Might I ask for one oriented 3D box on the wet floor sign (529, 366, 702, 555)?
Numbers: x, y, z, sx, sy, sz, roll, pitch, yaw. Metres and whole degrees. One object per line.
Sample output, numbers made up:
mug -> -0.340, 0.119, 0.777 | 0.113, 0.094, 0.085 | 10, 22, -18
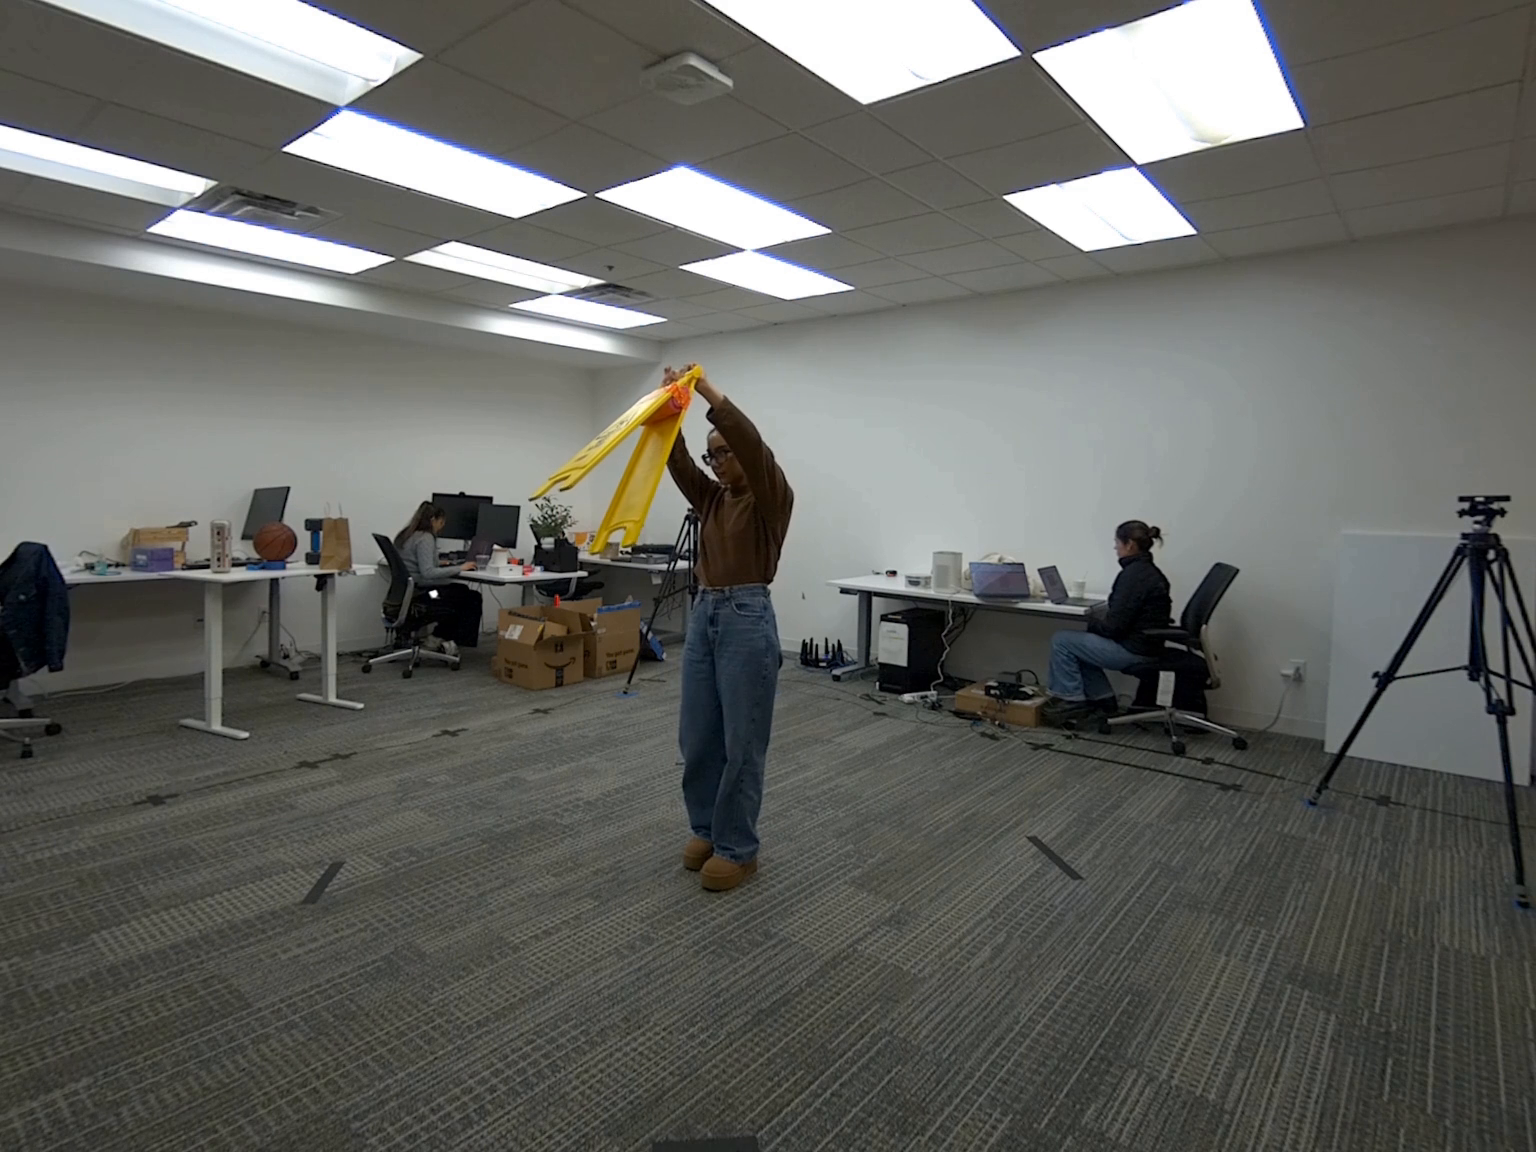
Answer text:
wet floor sign -> -0.431, -0.413, 2.658 | 0.280, 0.651, 0.289 | 42, -30, -27
